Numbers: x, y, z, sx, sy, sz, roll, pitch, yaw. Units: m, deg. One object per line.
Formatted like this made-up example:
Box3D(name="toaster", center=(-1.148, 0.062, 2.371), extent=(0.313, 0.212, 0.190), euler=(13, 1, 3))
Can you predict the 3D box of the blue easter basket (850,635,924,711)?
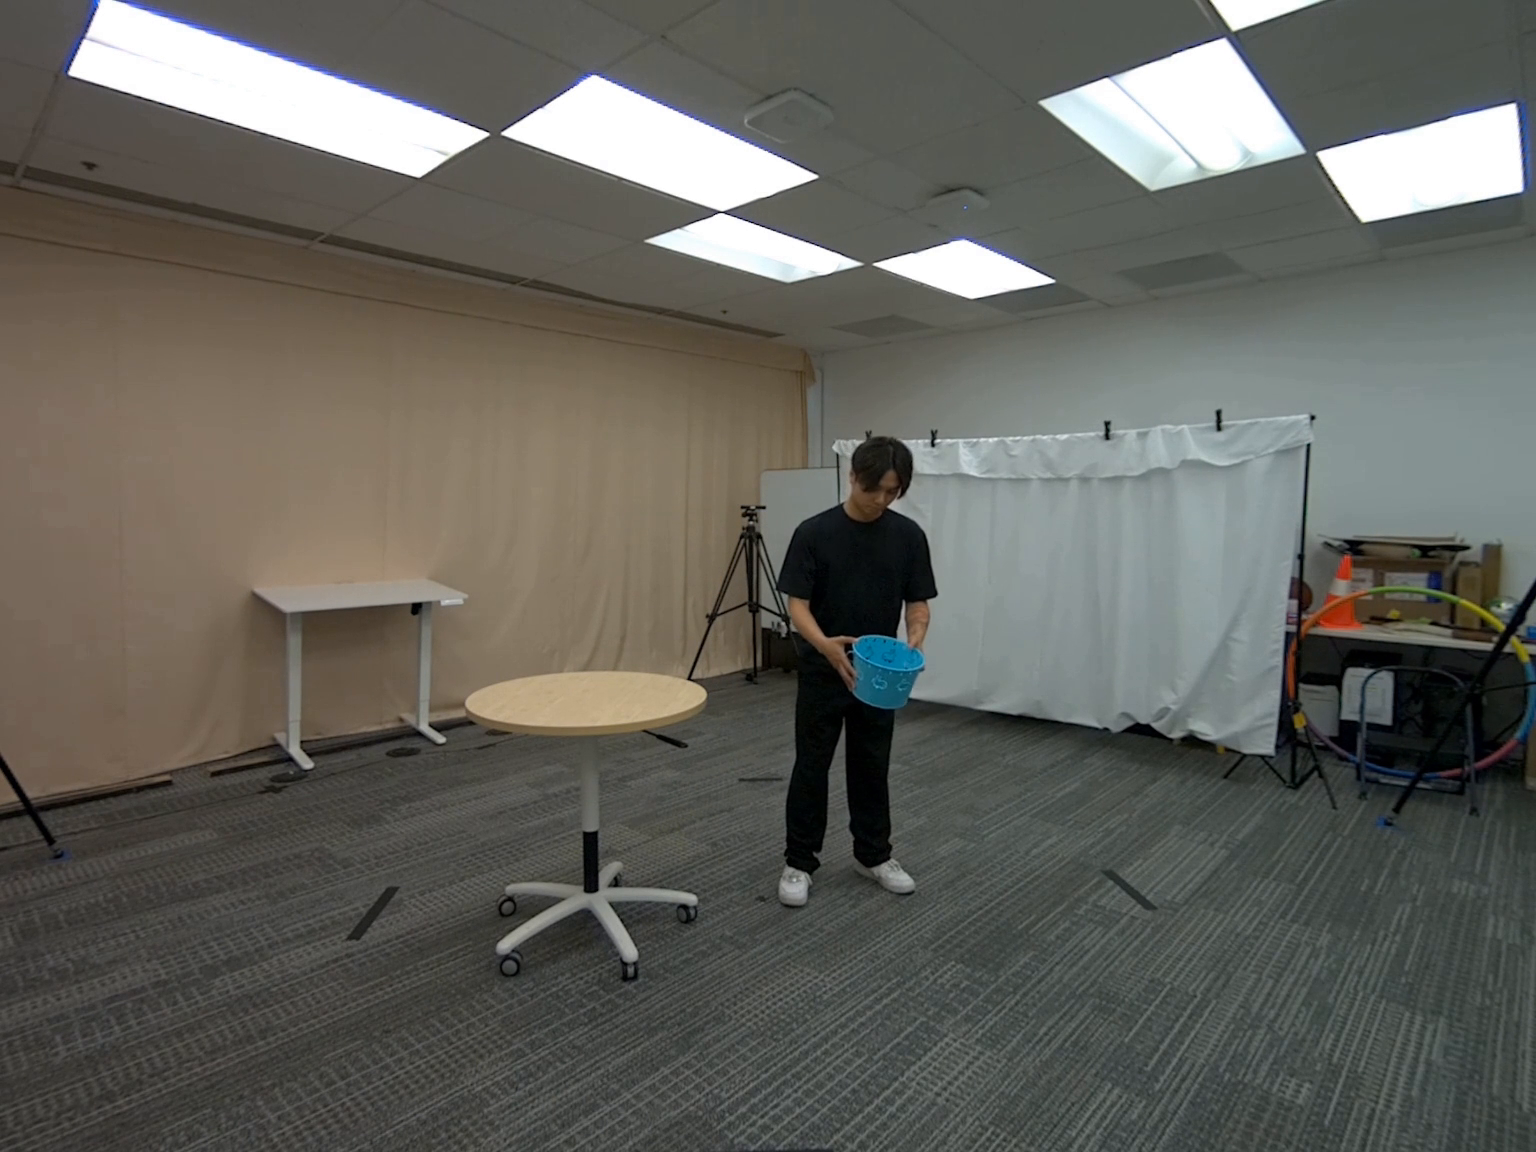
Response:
Box3D(name="blue easter basket", center=(0.375, 0.314, 2.697), extent=(0.243, 0.154, 0.247), euler=(6, 22, -4))
